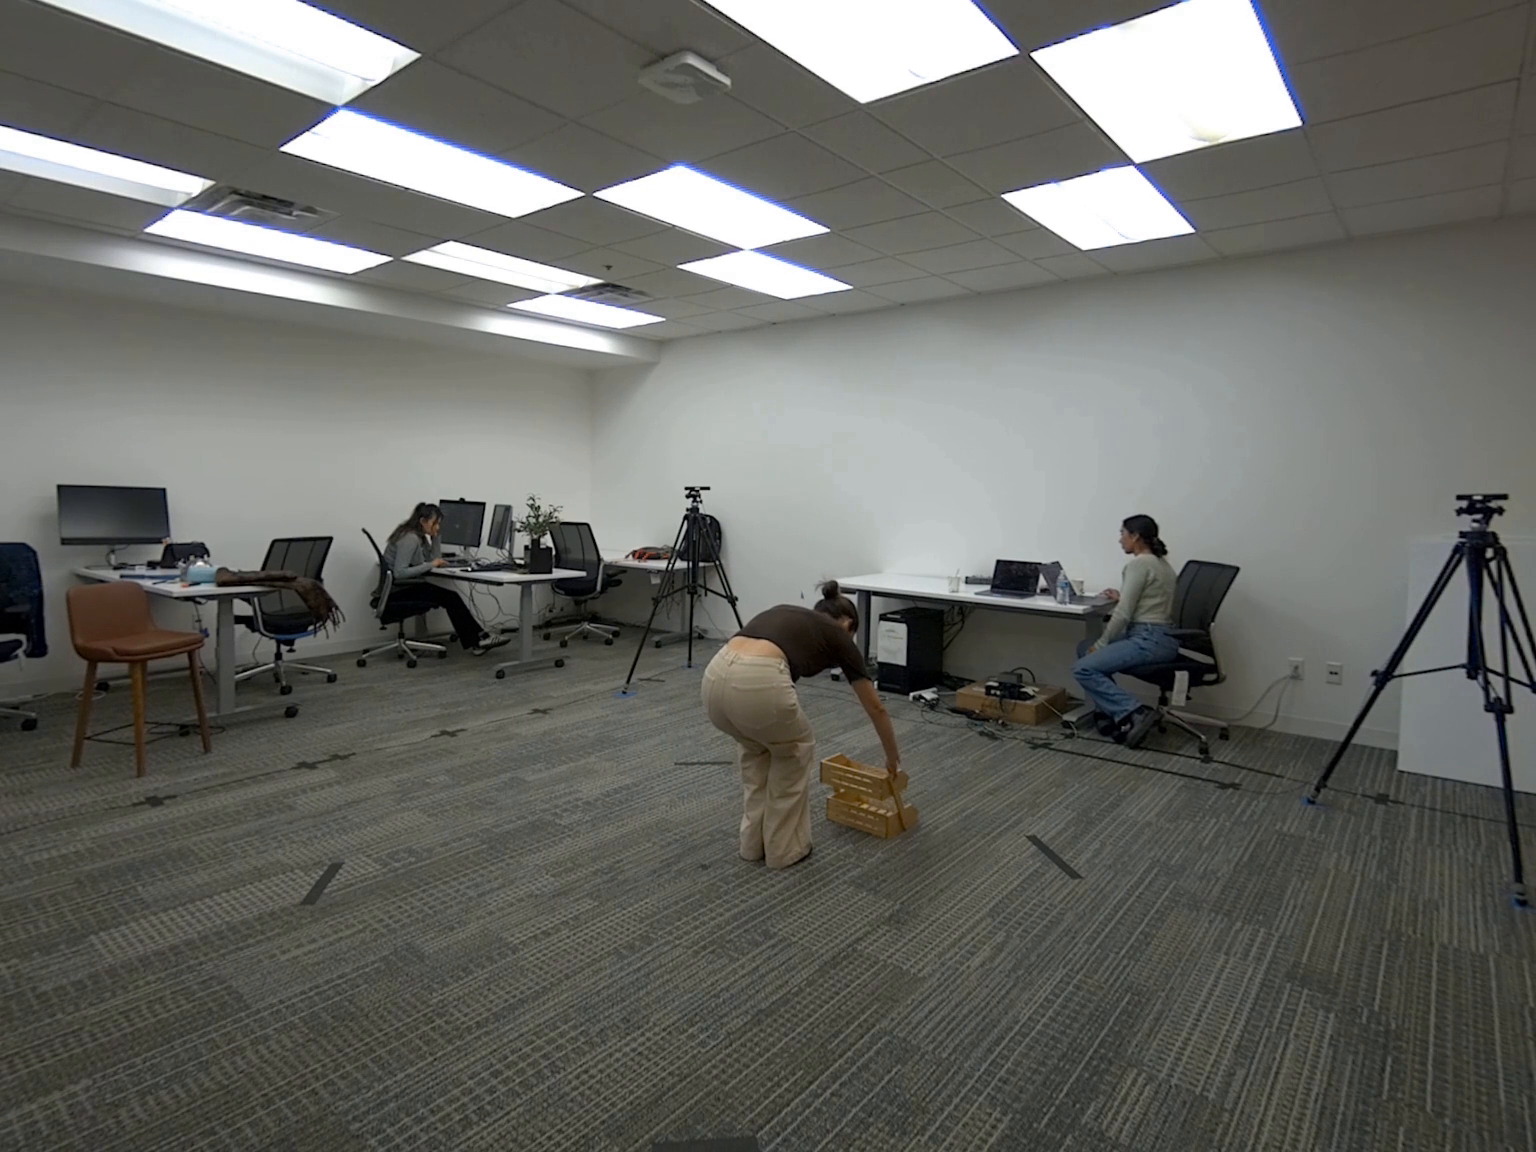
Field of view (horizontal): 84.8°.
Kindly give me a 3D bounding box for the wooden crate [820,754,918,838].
[{"bbox_3d":[0.421,0.899,3.570,0.335,0.272,0.293,5,7,40],"label":"wooden crate"}]
